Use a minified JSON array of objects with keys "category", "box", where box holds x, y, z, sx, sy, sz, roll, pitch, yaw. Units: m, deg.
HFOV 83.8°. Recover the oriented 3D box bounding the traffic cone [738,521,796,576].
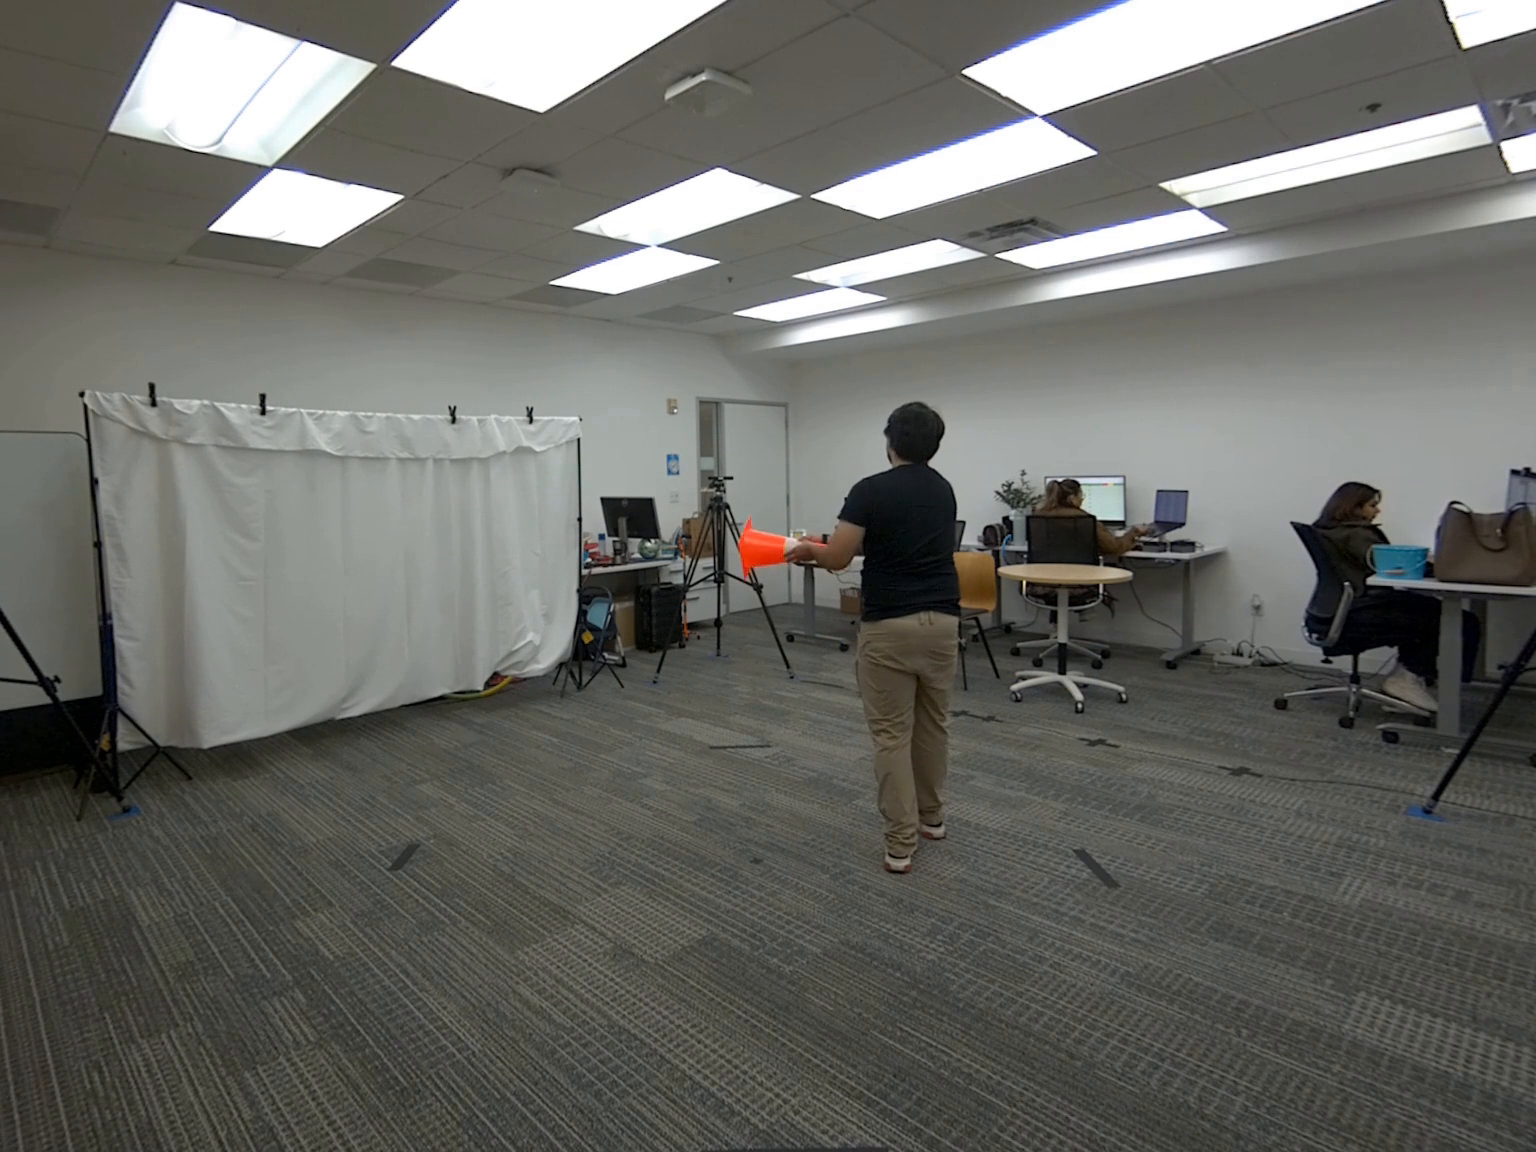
[{"category":"traffic cone","box":[0.118,-0.096,3.470,0.390,0.199,0.206,6,40,14]}]
